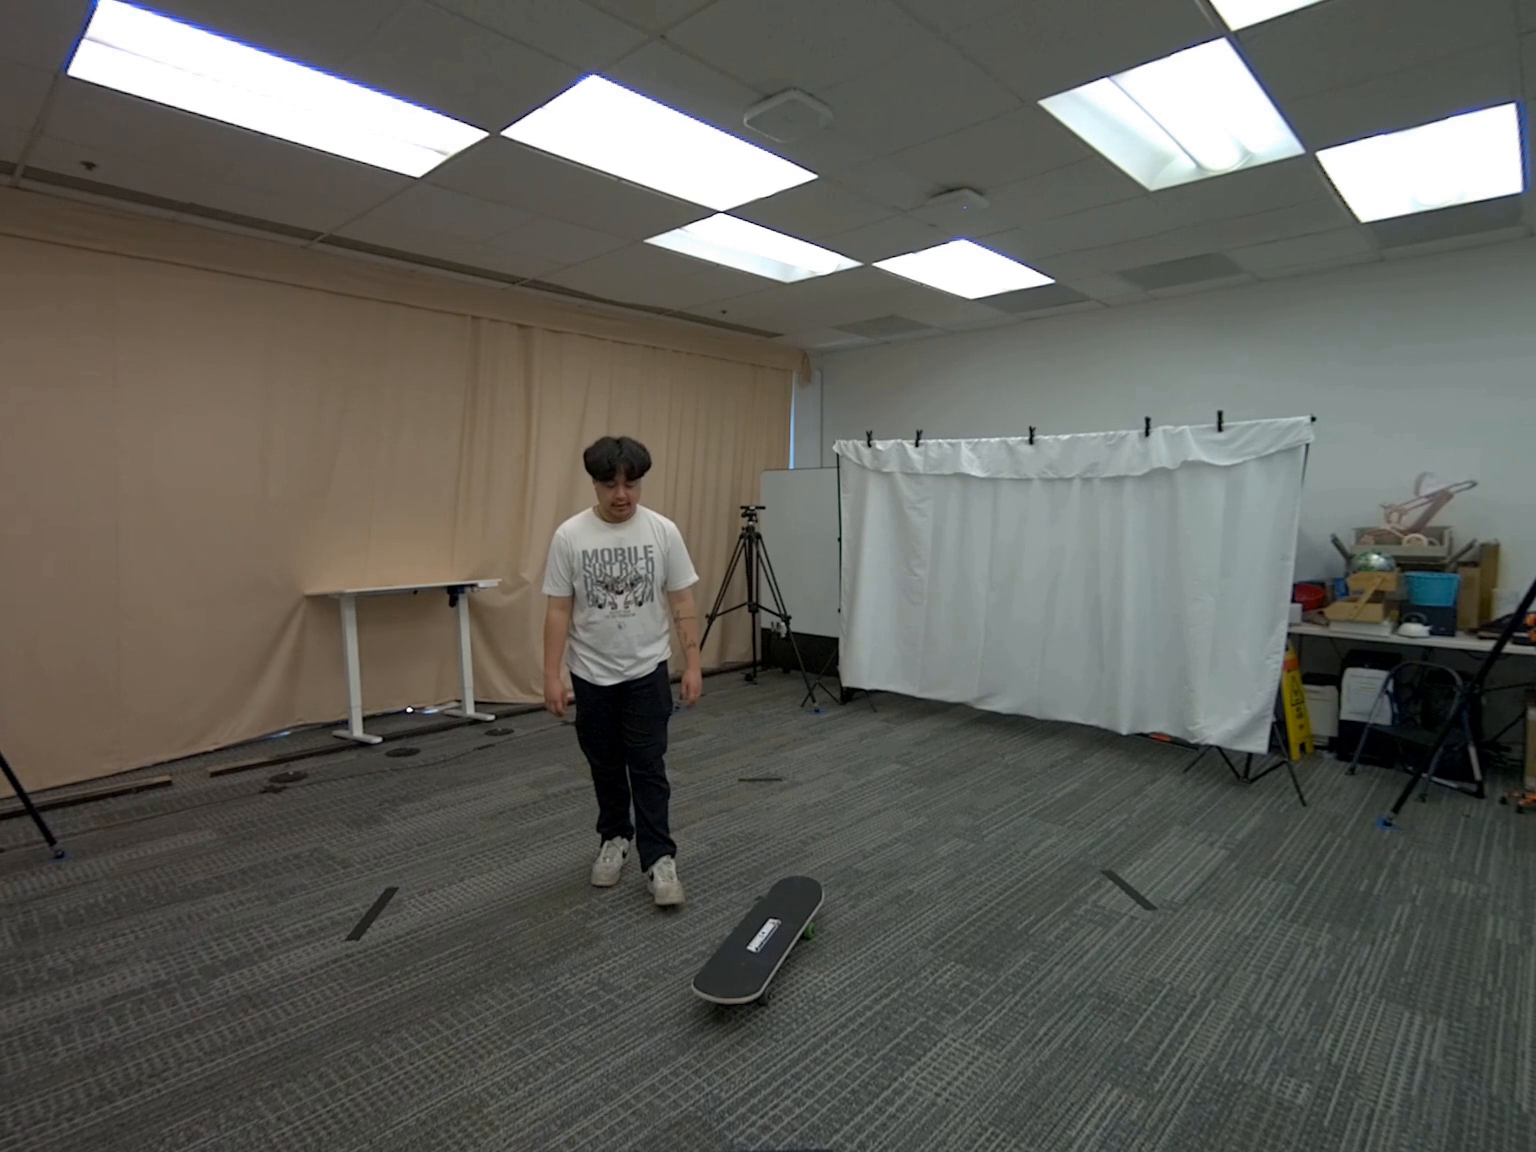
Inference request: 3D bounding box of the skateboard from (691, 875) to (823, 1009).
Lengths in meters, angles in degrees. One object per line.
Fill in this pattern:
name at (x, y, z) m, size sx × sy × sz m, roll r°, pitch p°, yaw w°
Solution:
skateboard at (-0.008, 1.120, 2.567) m, size 0.198 × 0.110 × 0.769 m, roll 2°, pitch 5°, yaw 22°
